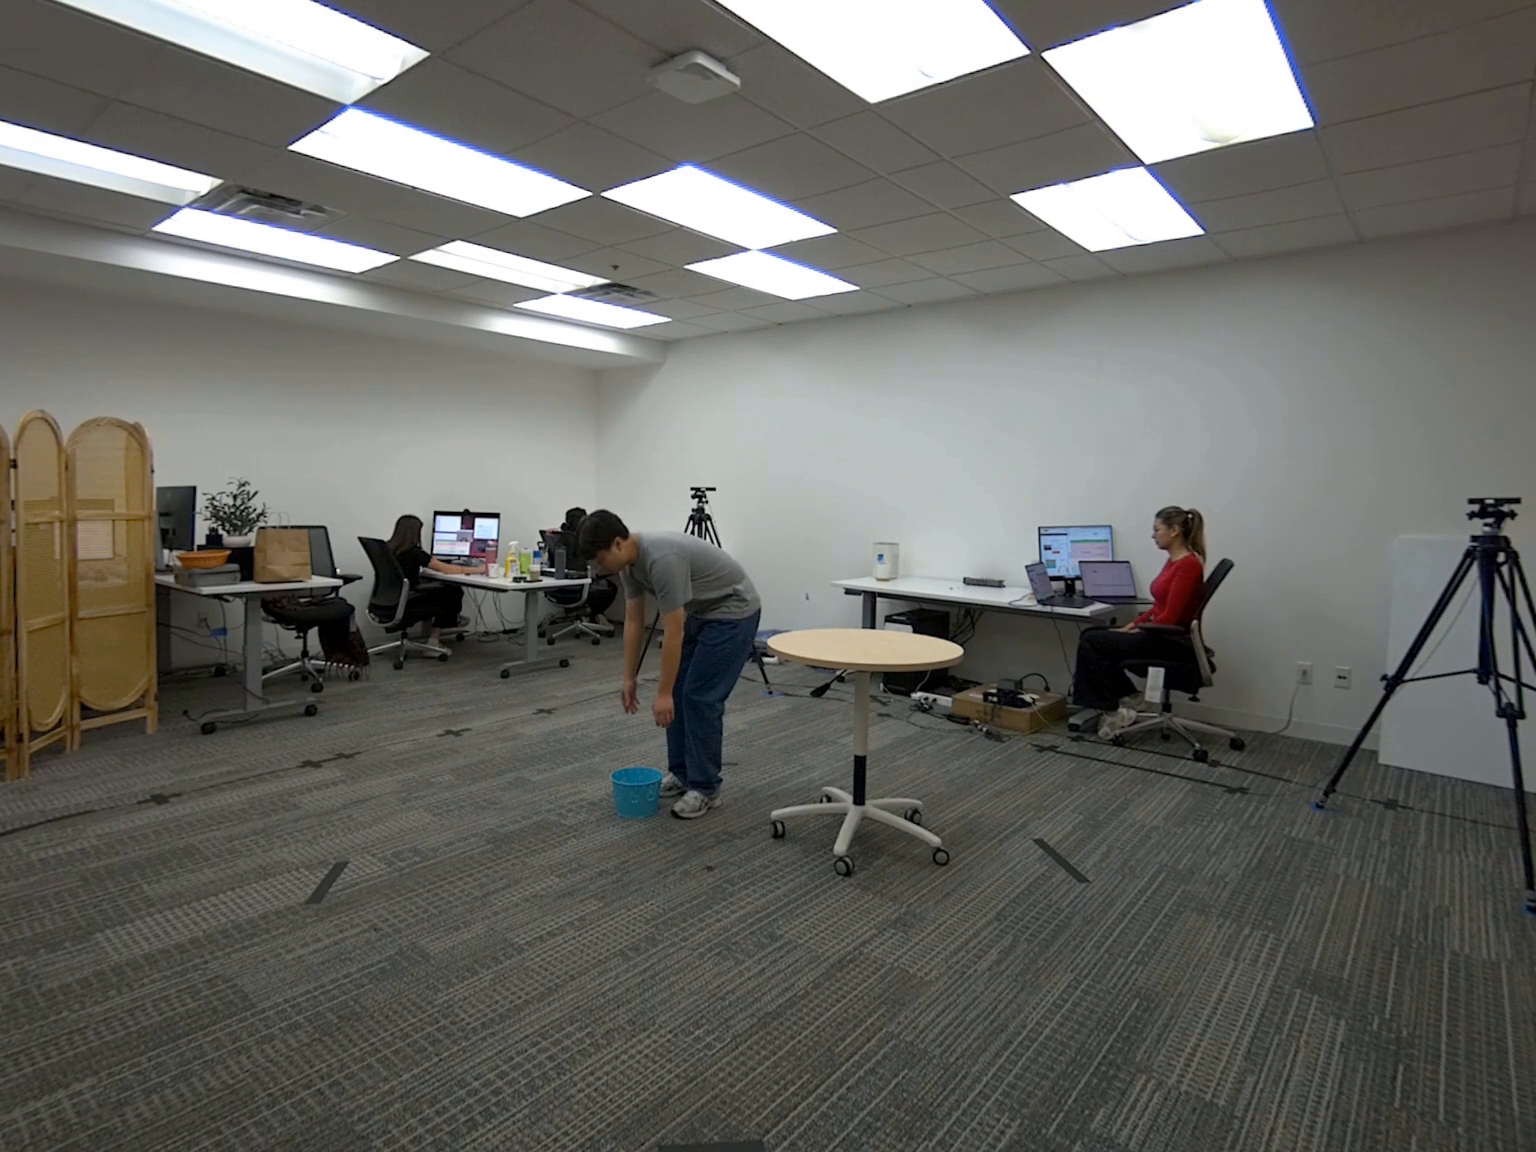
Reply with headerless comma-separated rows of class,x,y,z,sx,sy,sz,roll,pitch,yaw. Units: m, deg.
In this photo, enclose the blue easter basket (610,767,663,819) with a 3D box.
blue easter basket,-0.571,0.931,3.671,0.243,0.155,0.245,0,5,-2
